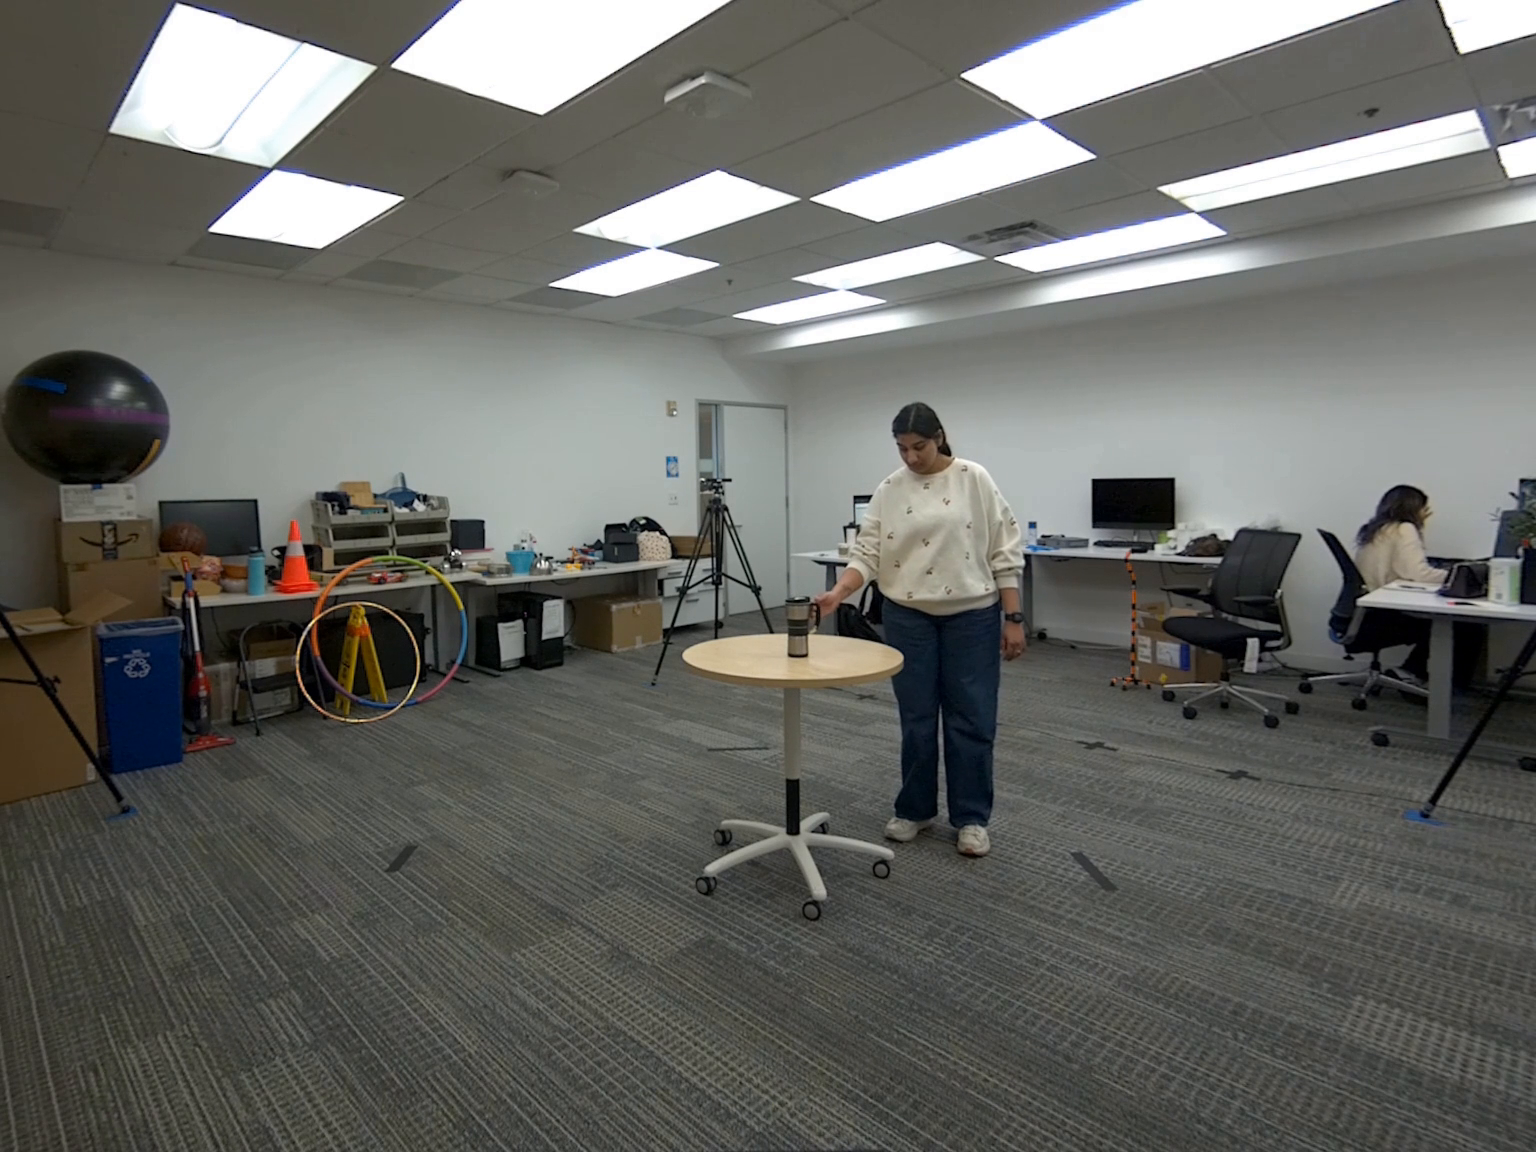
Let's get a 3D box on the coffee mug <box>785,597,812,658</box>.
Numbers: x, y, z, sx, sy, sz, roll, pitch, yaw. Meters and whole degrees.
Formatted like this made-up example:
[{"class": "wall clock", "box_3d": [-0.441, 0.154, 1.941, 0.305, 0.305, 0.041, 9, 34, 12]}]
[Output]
[{"class": "coffee mug", "box_3d": [0.128, 0.179, 2.936, 0.124, 0.202, 0.086, 0, 3, 18]}]
